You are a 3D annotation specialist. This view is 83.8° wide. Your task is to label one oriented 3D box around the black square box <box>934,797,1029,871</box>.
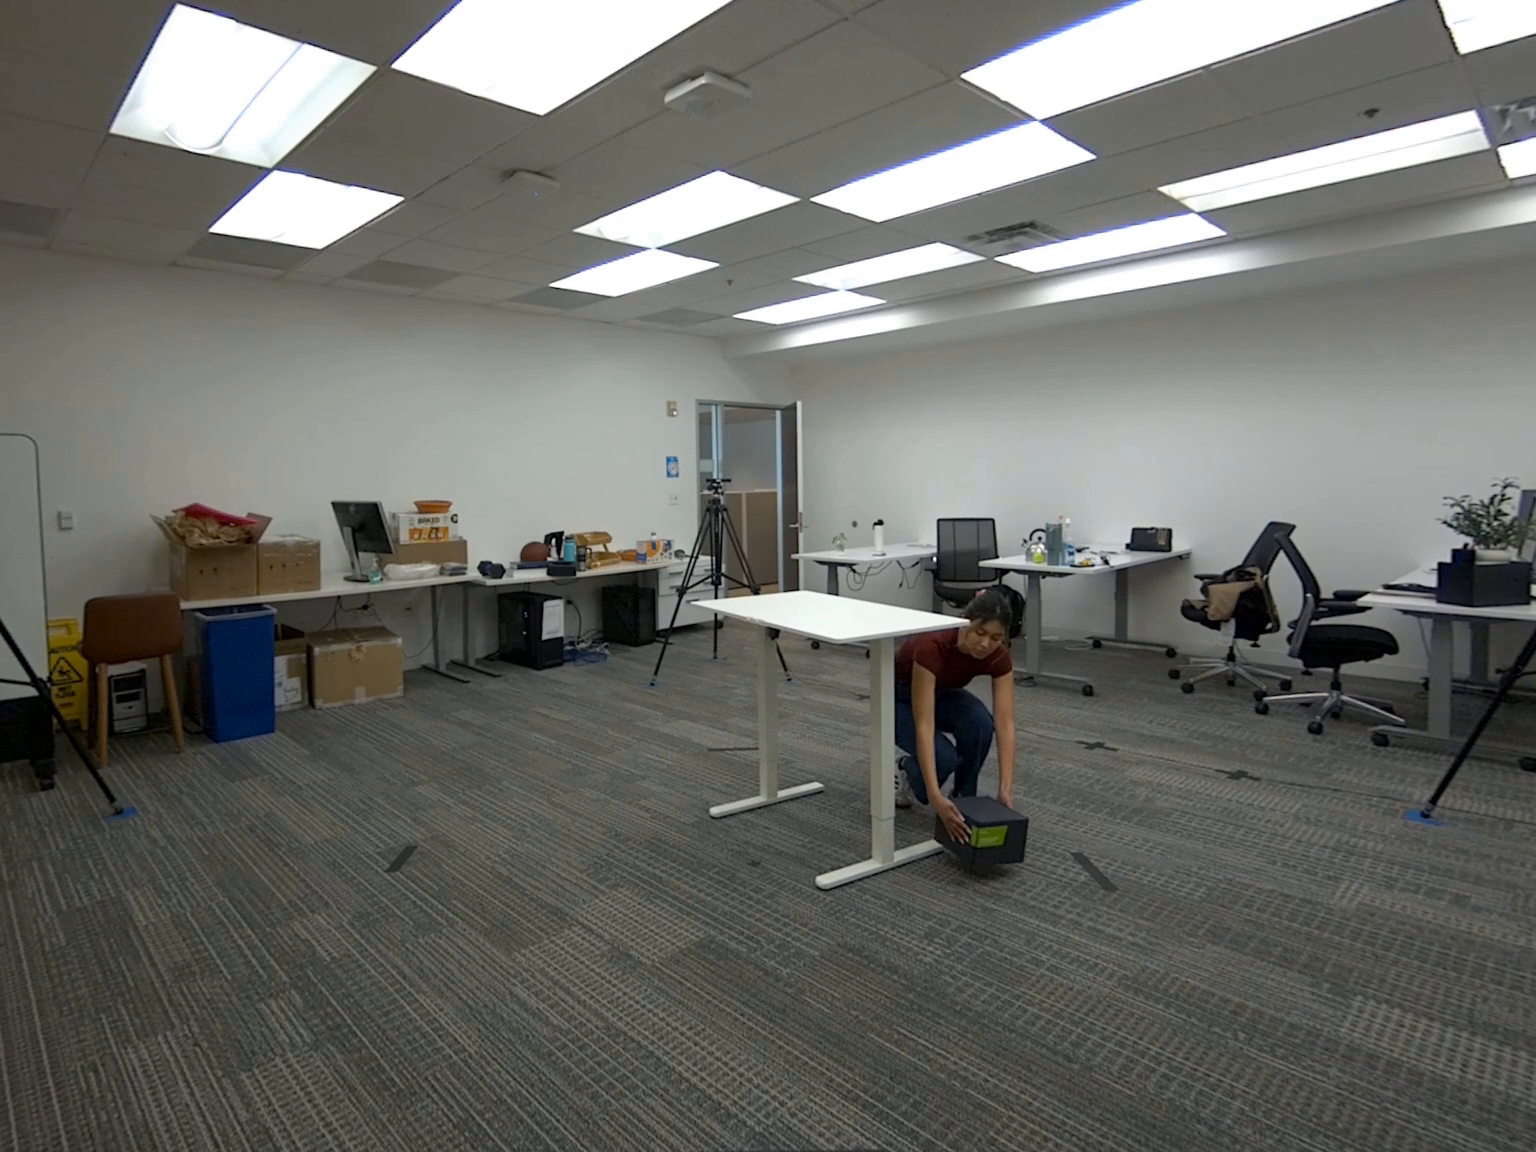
[{"bbox_3d":[0.758,0.900,3.030,0.222,0.155,0.223,4,5,-27],"label":"black square box"}]
